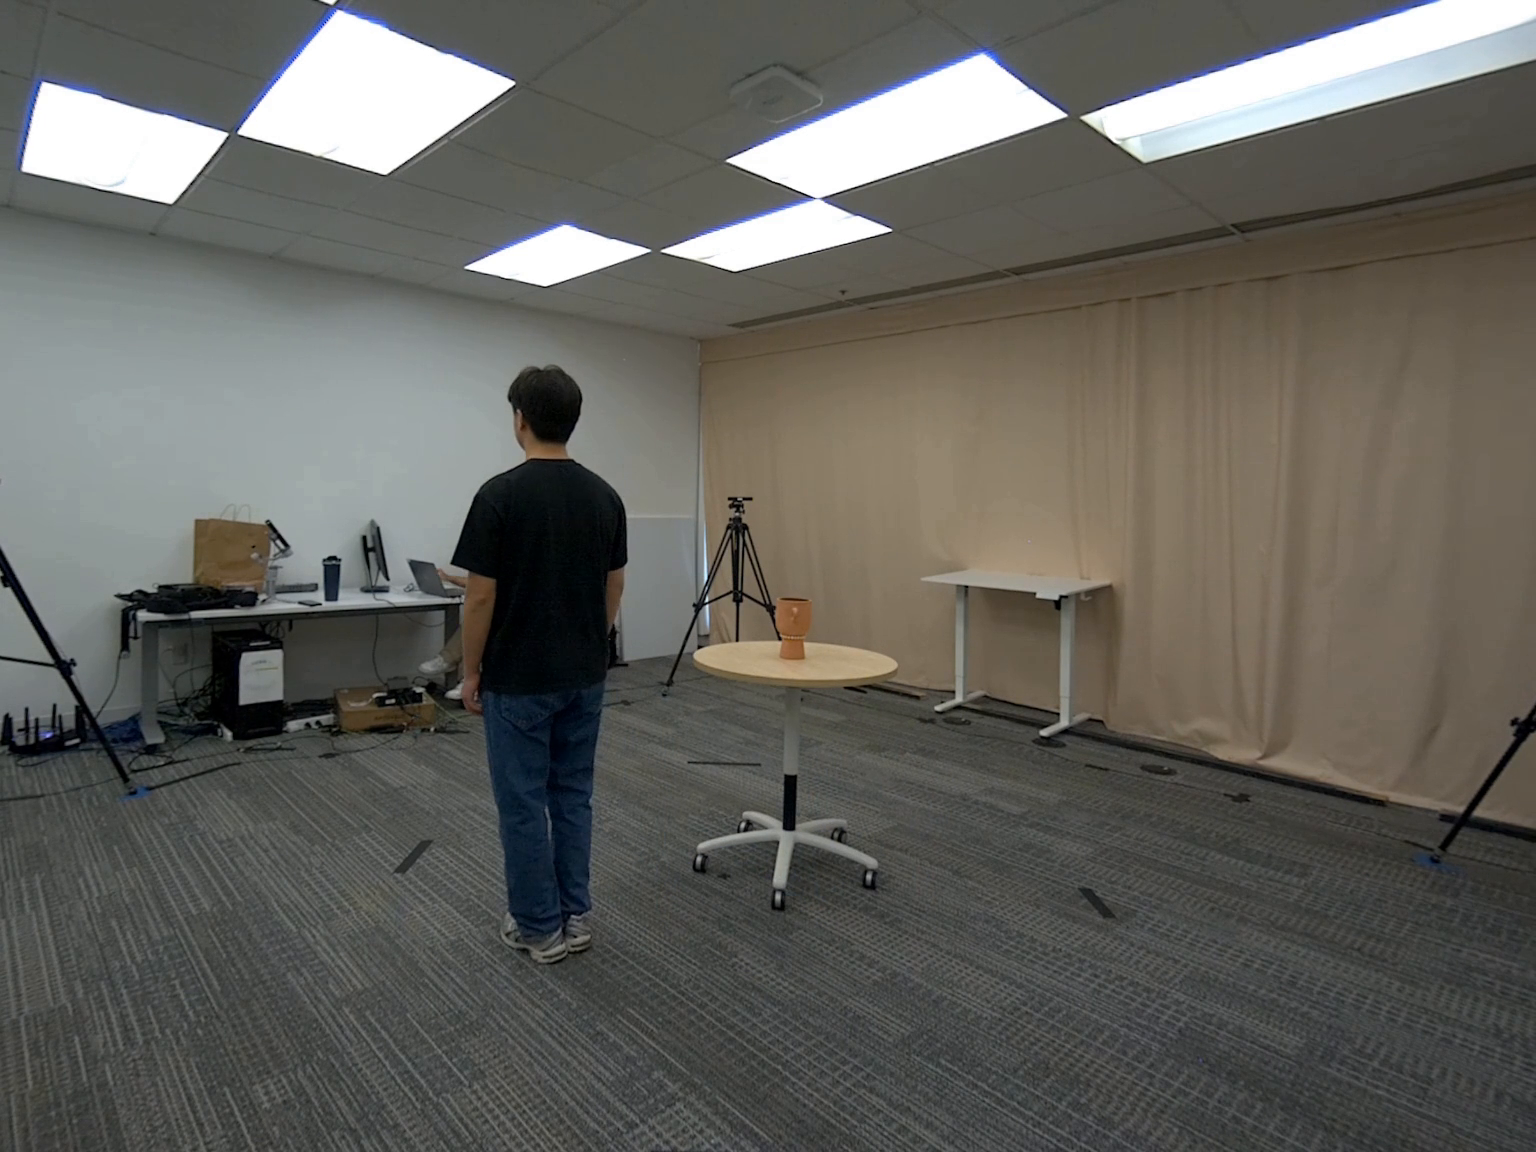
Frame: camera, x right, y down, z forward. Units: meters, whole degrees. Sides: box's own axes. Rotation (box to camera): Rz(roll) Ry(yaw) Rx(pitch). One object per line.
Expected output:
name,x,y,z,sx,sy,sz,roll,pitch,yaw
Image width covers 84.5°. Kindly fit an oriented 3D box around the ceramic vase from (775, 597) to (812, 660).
ceramic vase,0.087,0.199,3.185,0.138,0.219,0.155,4,4,38
